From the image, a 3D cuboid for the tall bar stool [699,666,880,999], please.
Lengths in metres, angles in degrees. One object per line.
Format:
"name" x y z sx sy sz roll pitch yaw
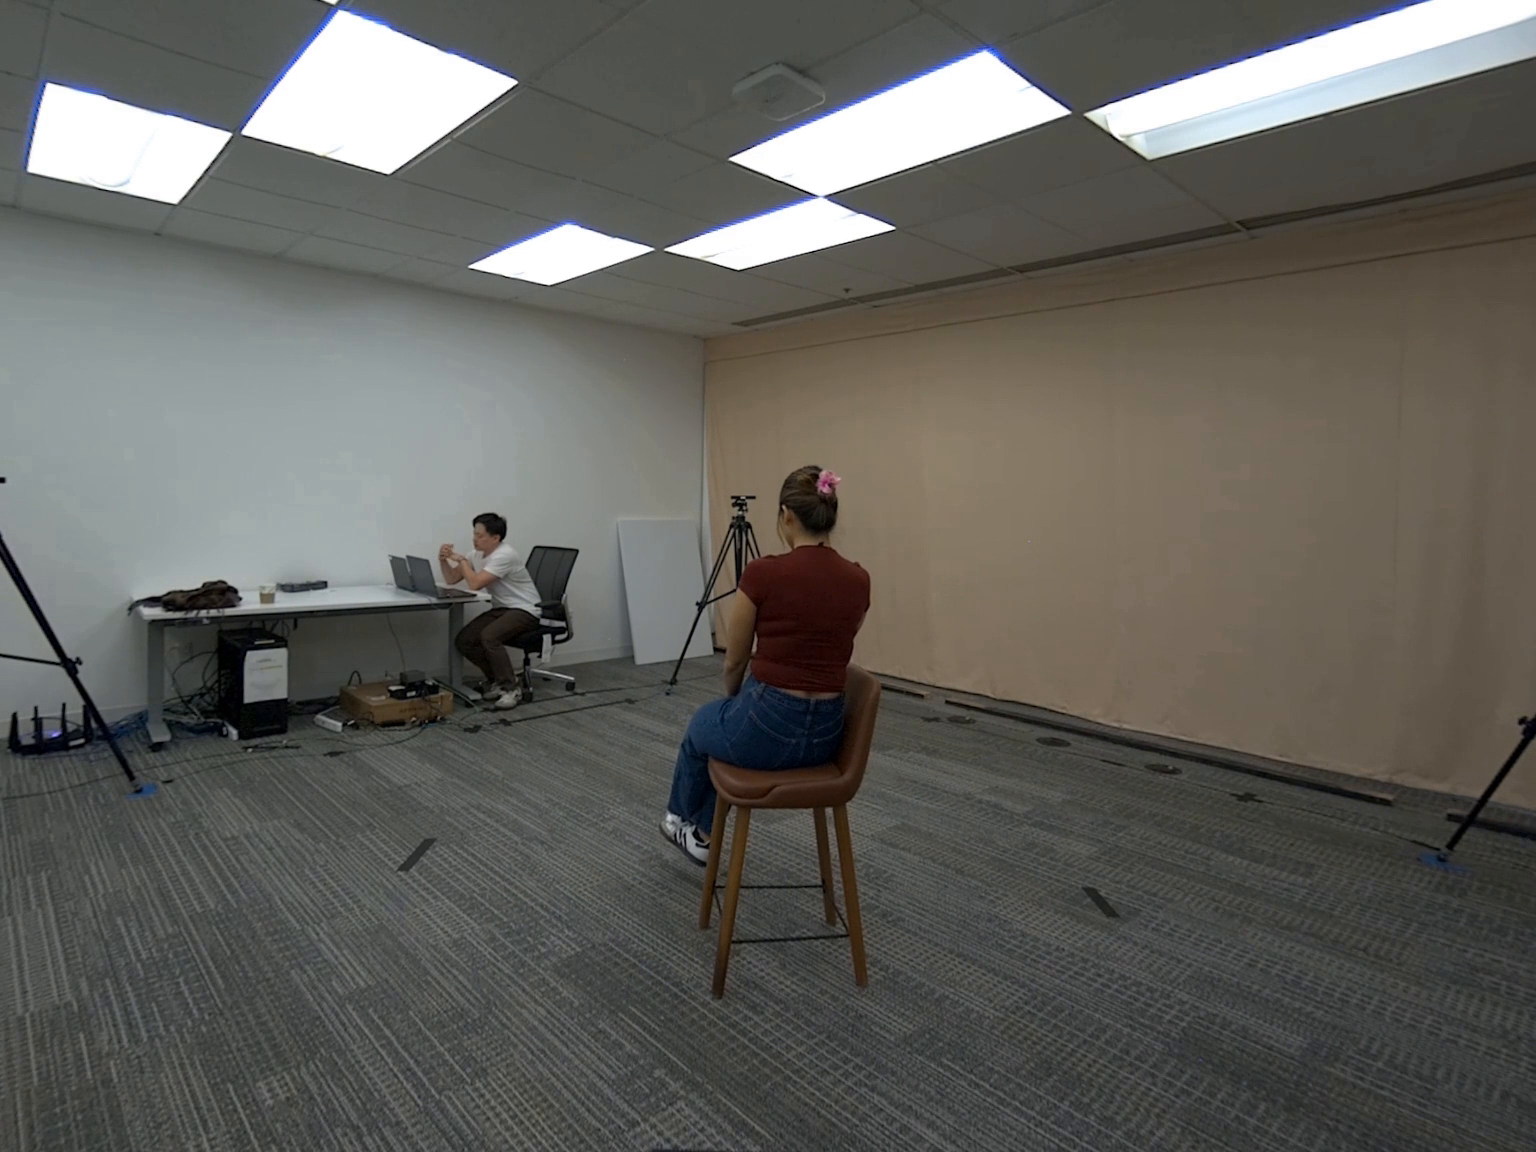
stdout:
"tall bar stool" 0.052 0.729 2.530 0.464 0.887 0.462 2 4 -11
